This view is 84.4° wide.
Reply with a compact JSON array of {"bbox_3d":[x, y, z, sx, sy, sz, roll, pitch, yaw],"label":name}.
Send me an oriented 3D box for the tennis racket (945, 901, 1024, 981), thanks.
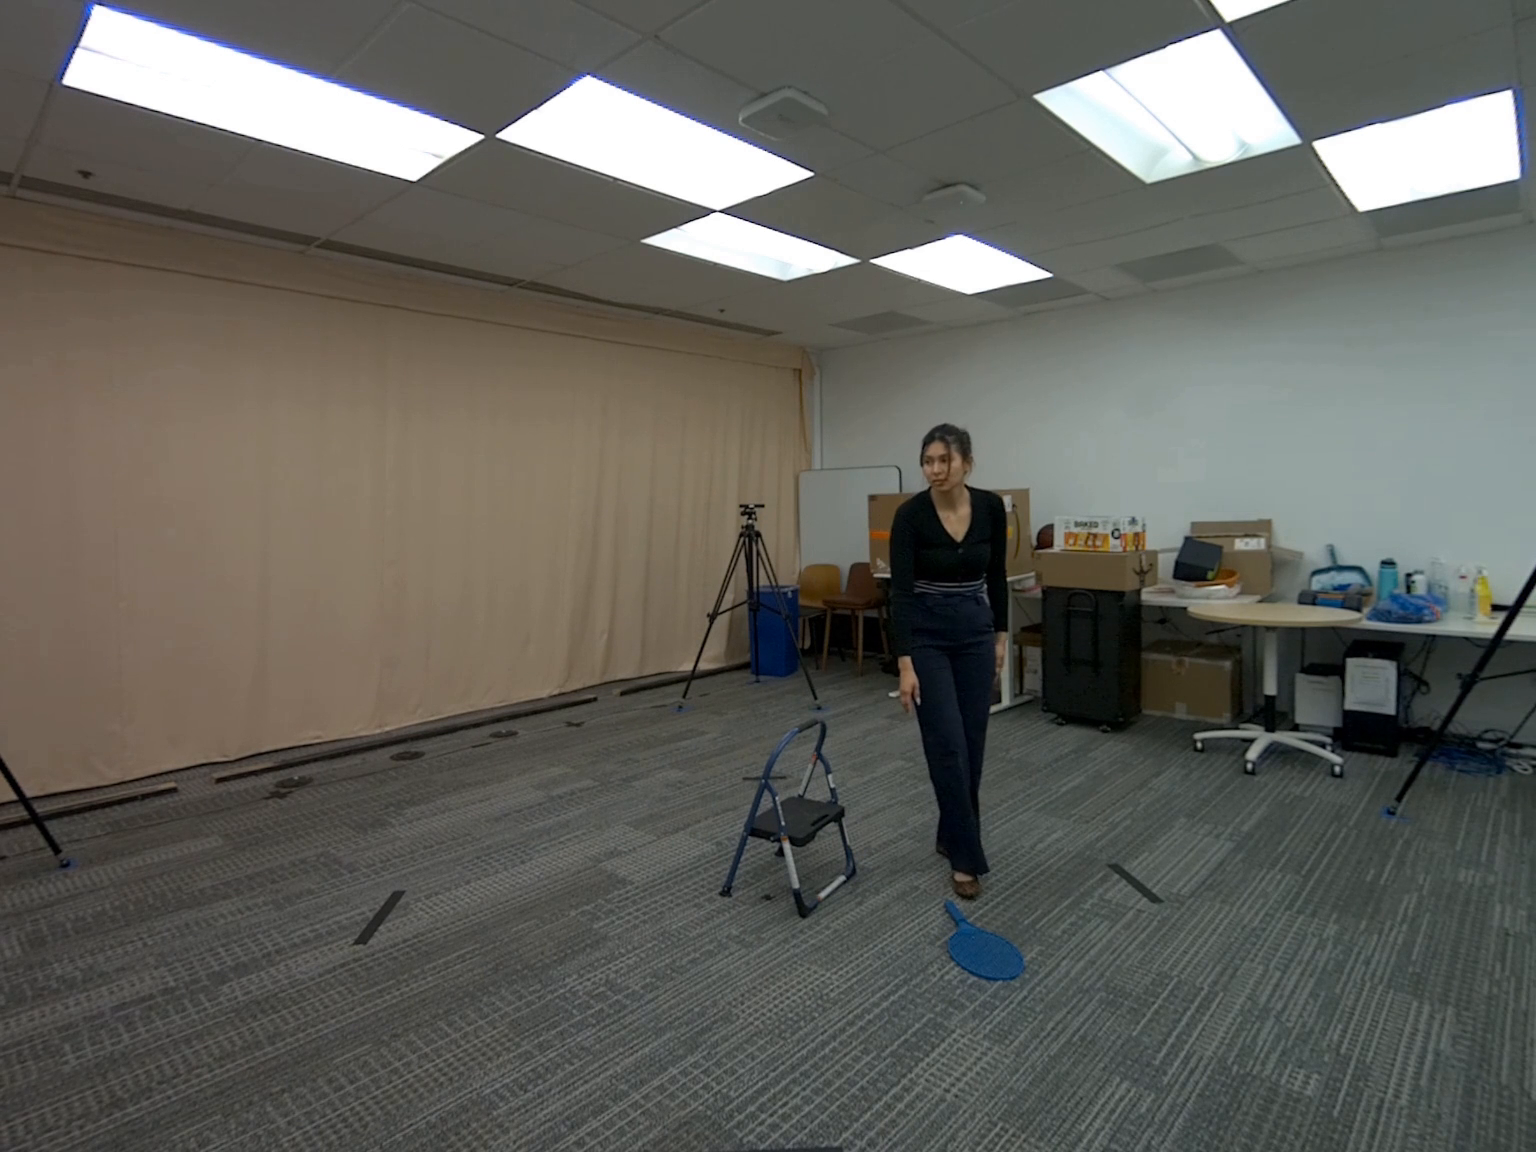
[{"bbox_3d":[0.652,1.141,2.654,0.212,0.031,0.438,-2,6,-8],"label":"tennis racket"}]
